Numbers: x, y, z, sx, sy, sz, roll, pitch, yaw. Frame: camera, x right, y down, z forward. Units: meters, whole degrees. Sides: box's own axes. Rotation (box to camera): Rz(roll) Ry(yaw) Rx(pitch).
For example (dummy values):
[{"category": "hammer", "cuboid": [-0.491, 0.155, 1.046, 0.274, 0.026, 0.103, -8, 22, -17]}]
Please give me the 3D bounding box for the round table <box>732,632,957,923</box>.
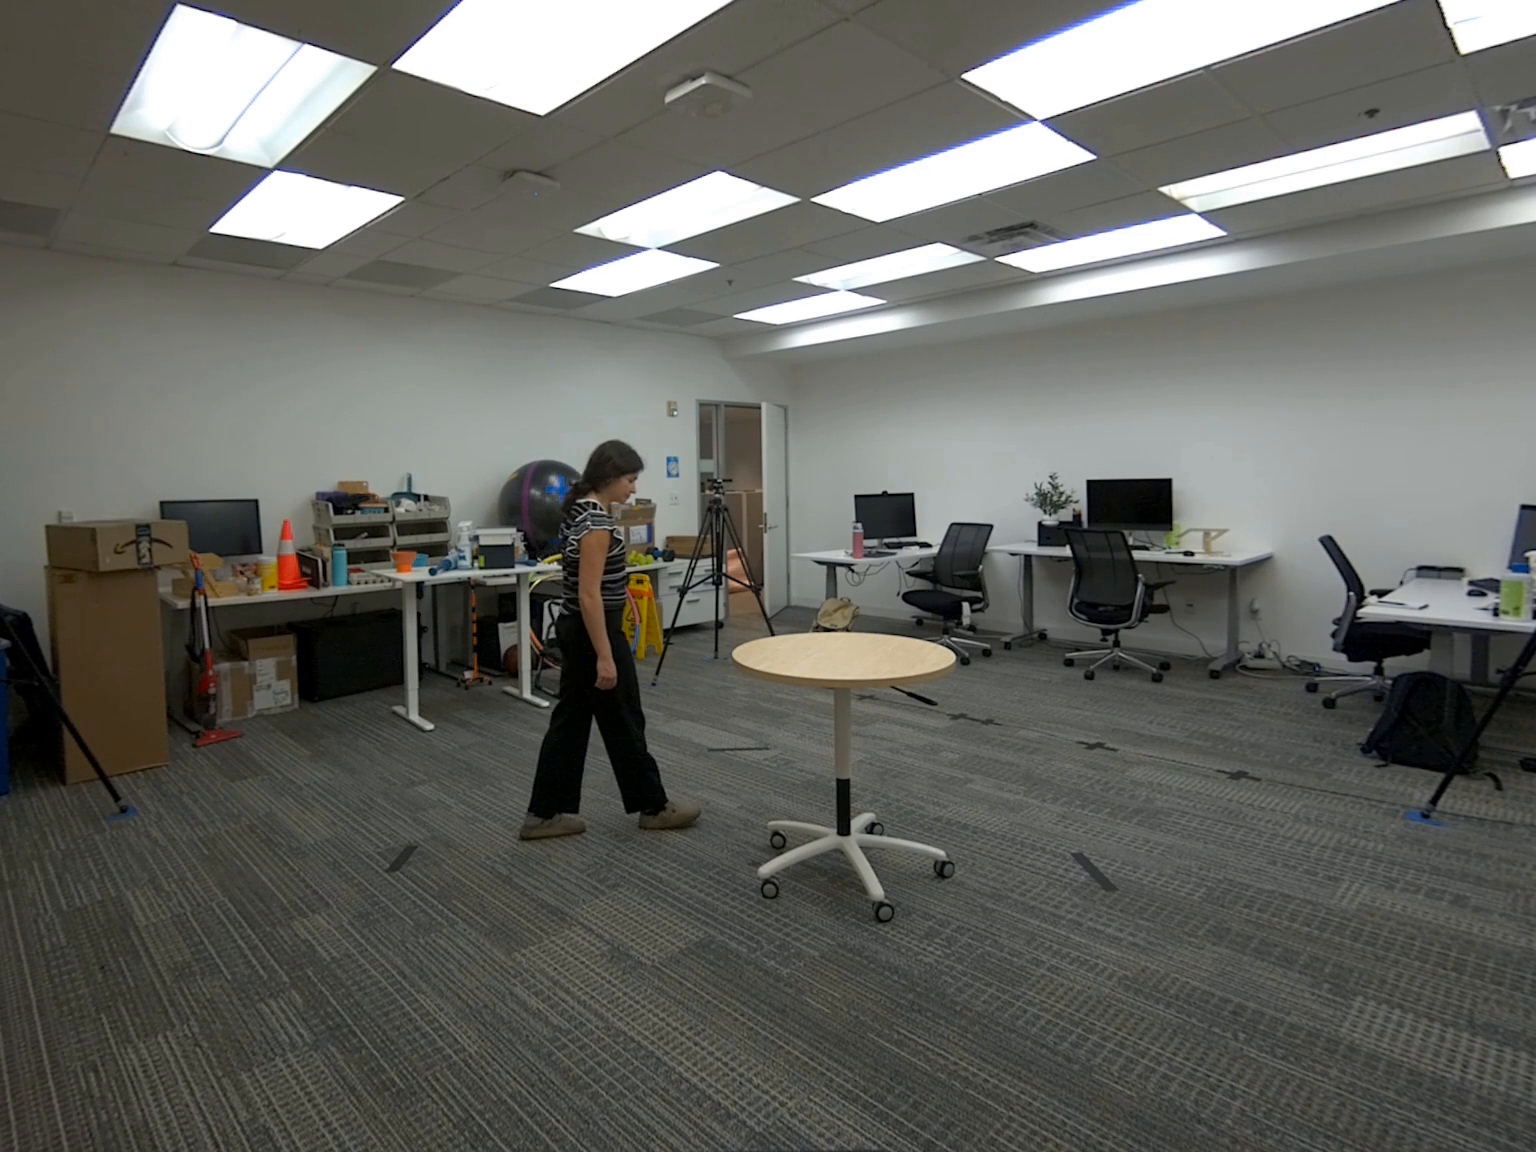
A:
[{"category": "round table", "cuboid": [0.262, 0.656, 3.013, 0.784, 0.783, 0.789, -1, 5, -2]}]
